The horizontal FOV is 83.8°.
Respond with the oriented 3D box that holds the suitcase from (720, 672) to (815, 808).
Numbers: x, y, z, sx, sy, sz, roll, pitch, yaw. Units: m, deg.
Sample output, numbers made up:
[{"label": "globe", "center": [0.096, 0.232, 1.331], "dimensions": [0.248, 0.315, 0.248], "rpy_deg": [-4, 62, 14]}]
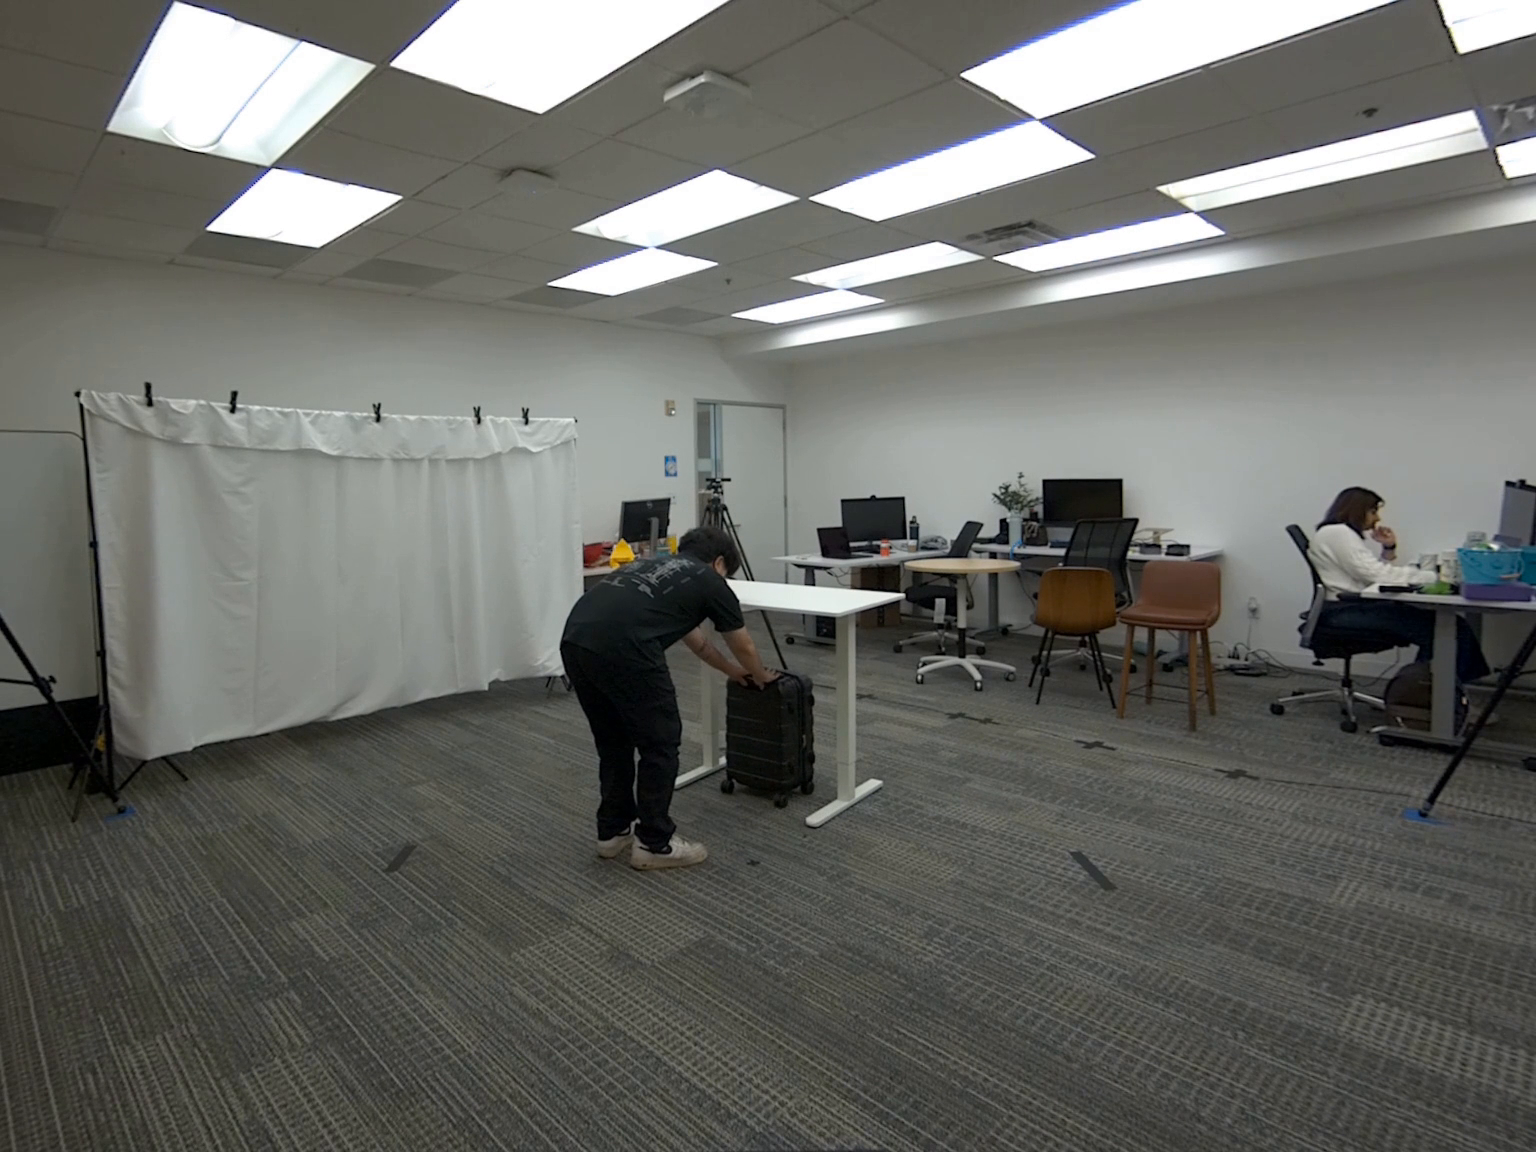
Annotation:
[{"label": "suitcase", "center": [0.010, 0.696, 3.803], "dimensions": [0.386, 0.549, 0.241], "rpy_deg": [3, 2, 37]}]
